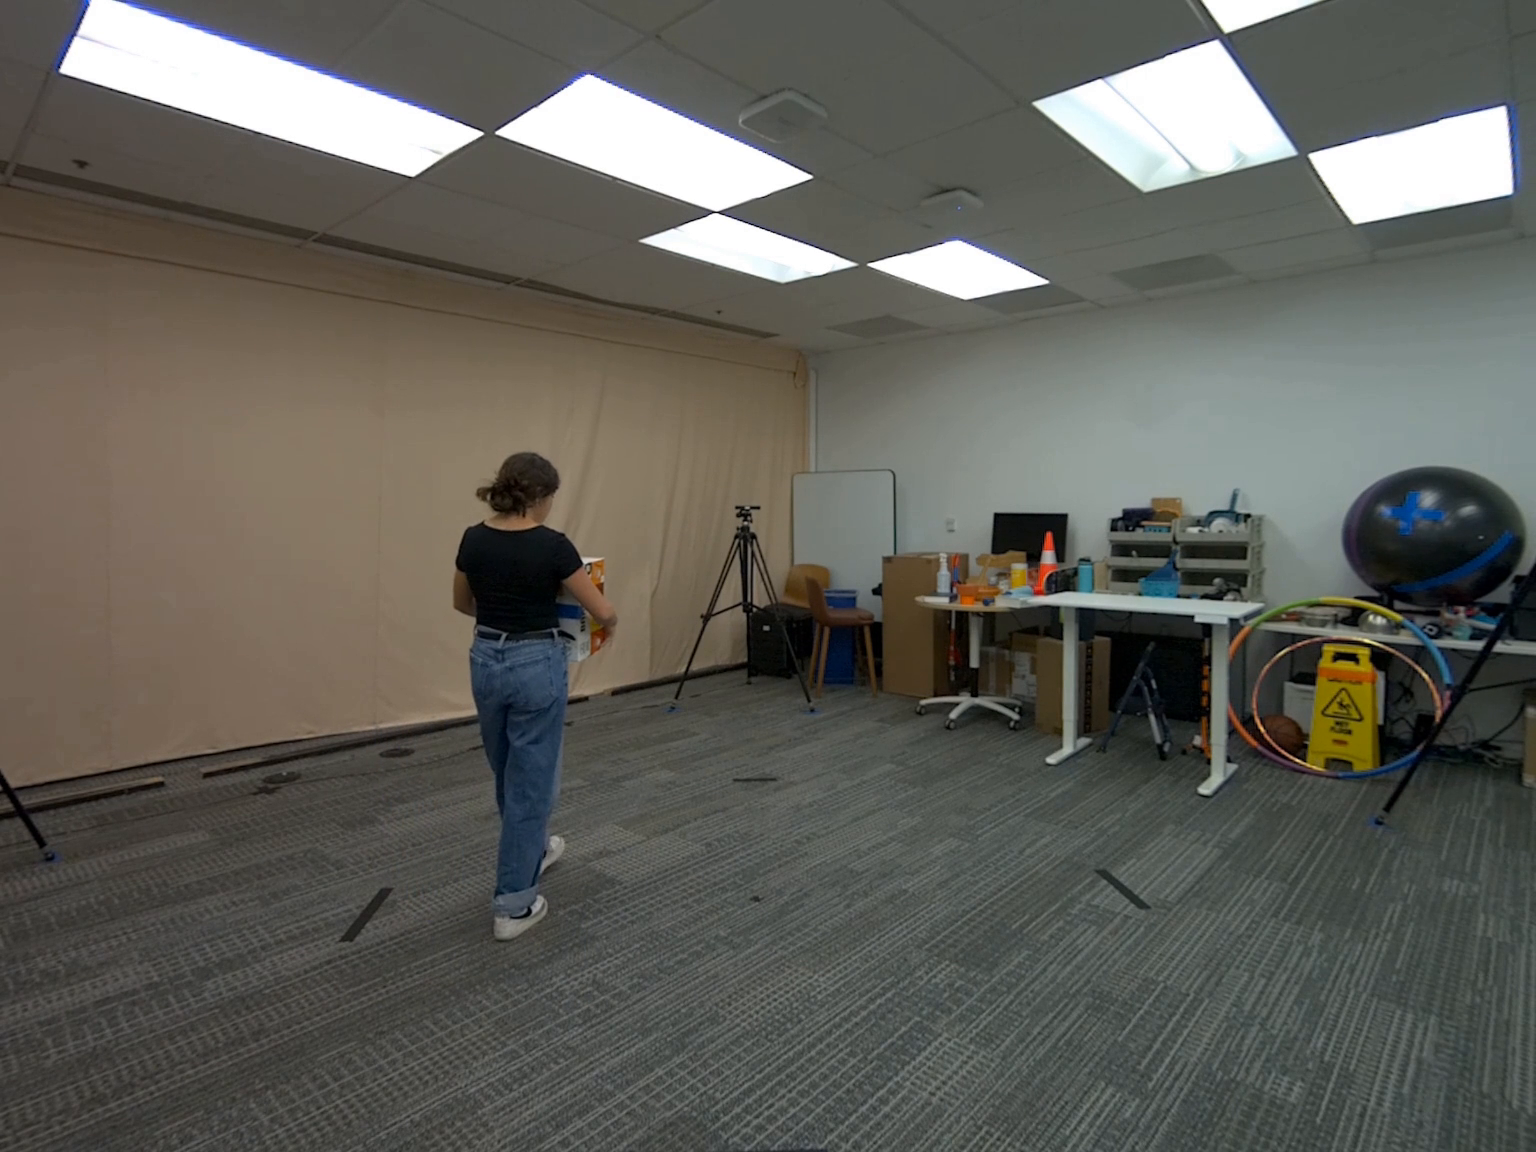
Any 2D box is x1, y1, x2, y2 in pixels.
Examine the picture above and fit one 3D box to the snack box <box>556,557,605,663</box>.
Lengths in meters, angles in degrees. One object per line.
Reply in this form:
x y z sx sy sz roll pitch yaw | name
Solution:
-0.823 0.098 3.031 0.413 0.339 0.203 4 7 16 | snack box
